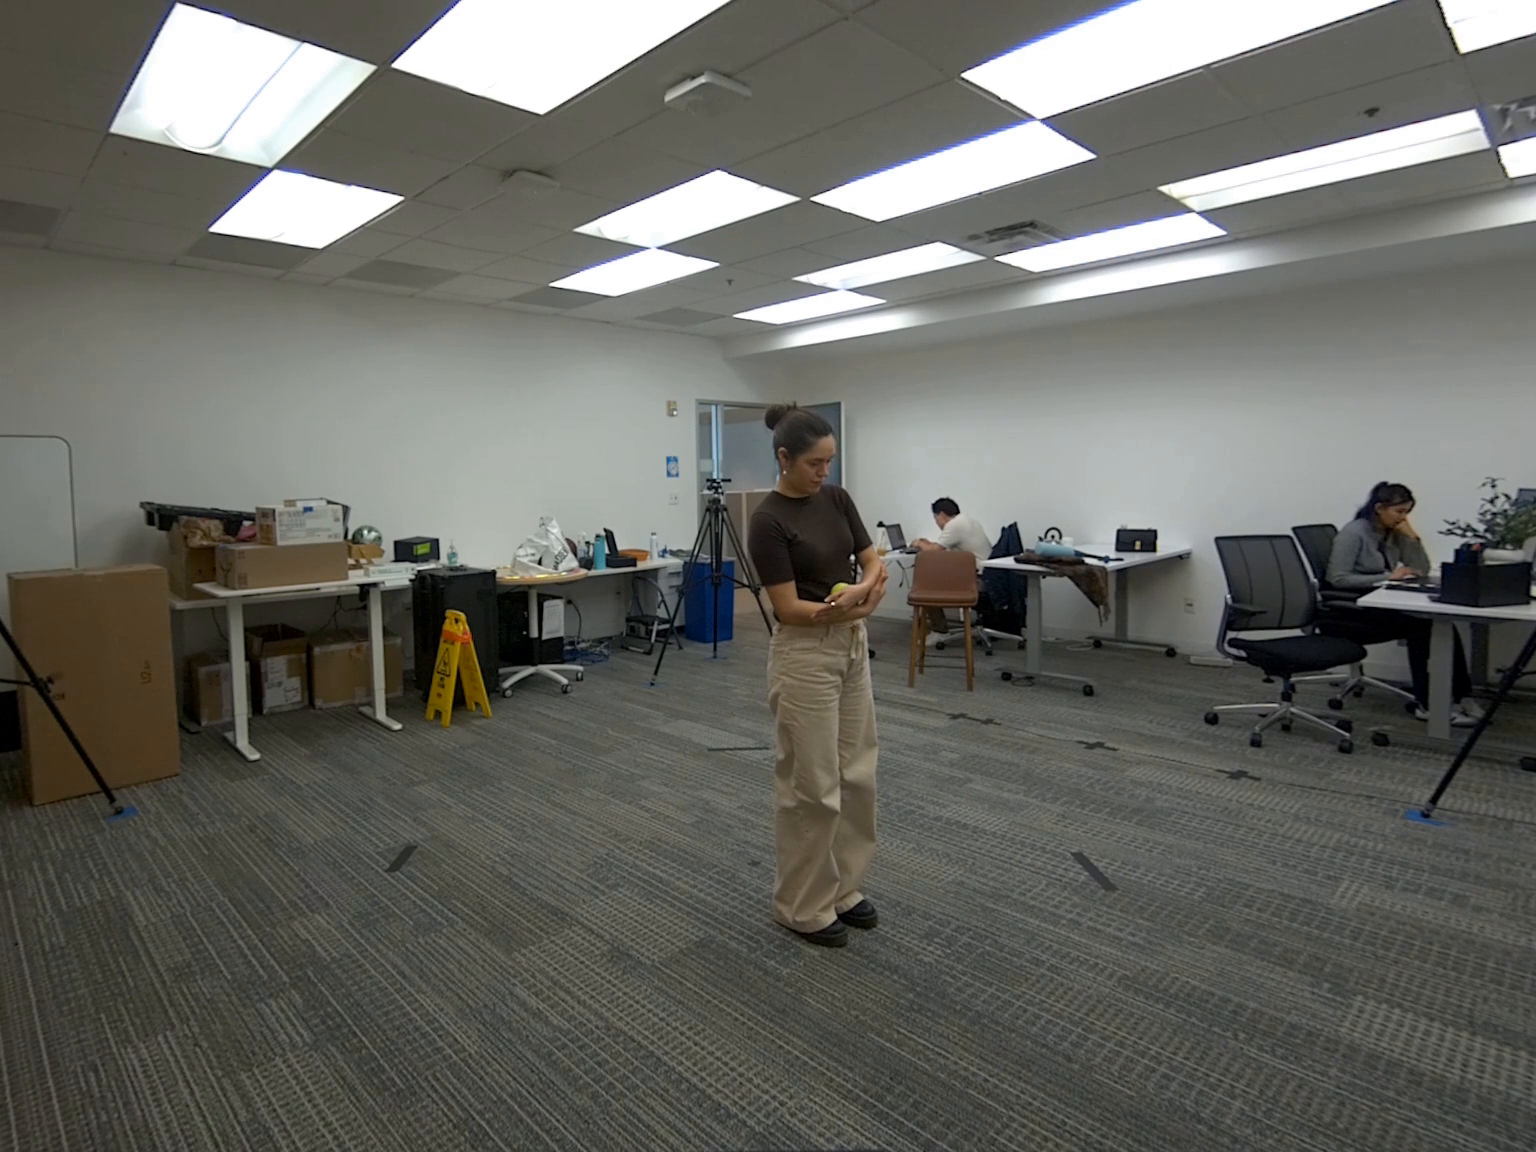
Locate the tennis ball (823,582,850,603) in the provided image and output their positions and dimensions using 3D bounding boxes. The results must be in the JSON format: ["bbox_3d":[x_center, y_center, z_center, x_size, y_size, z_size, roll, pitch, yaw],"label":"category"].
[{"bbox_3d":[0.207,0.048,2.508,0.066,0.066,0.067,-1,5,-2],"label":"tennis ball"}]
